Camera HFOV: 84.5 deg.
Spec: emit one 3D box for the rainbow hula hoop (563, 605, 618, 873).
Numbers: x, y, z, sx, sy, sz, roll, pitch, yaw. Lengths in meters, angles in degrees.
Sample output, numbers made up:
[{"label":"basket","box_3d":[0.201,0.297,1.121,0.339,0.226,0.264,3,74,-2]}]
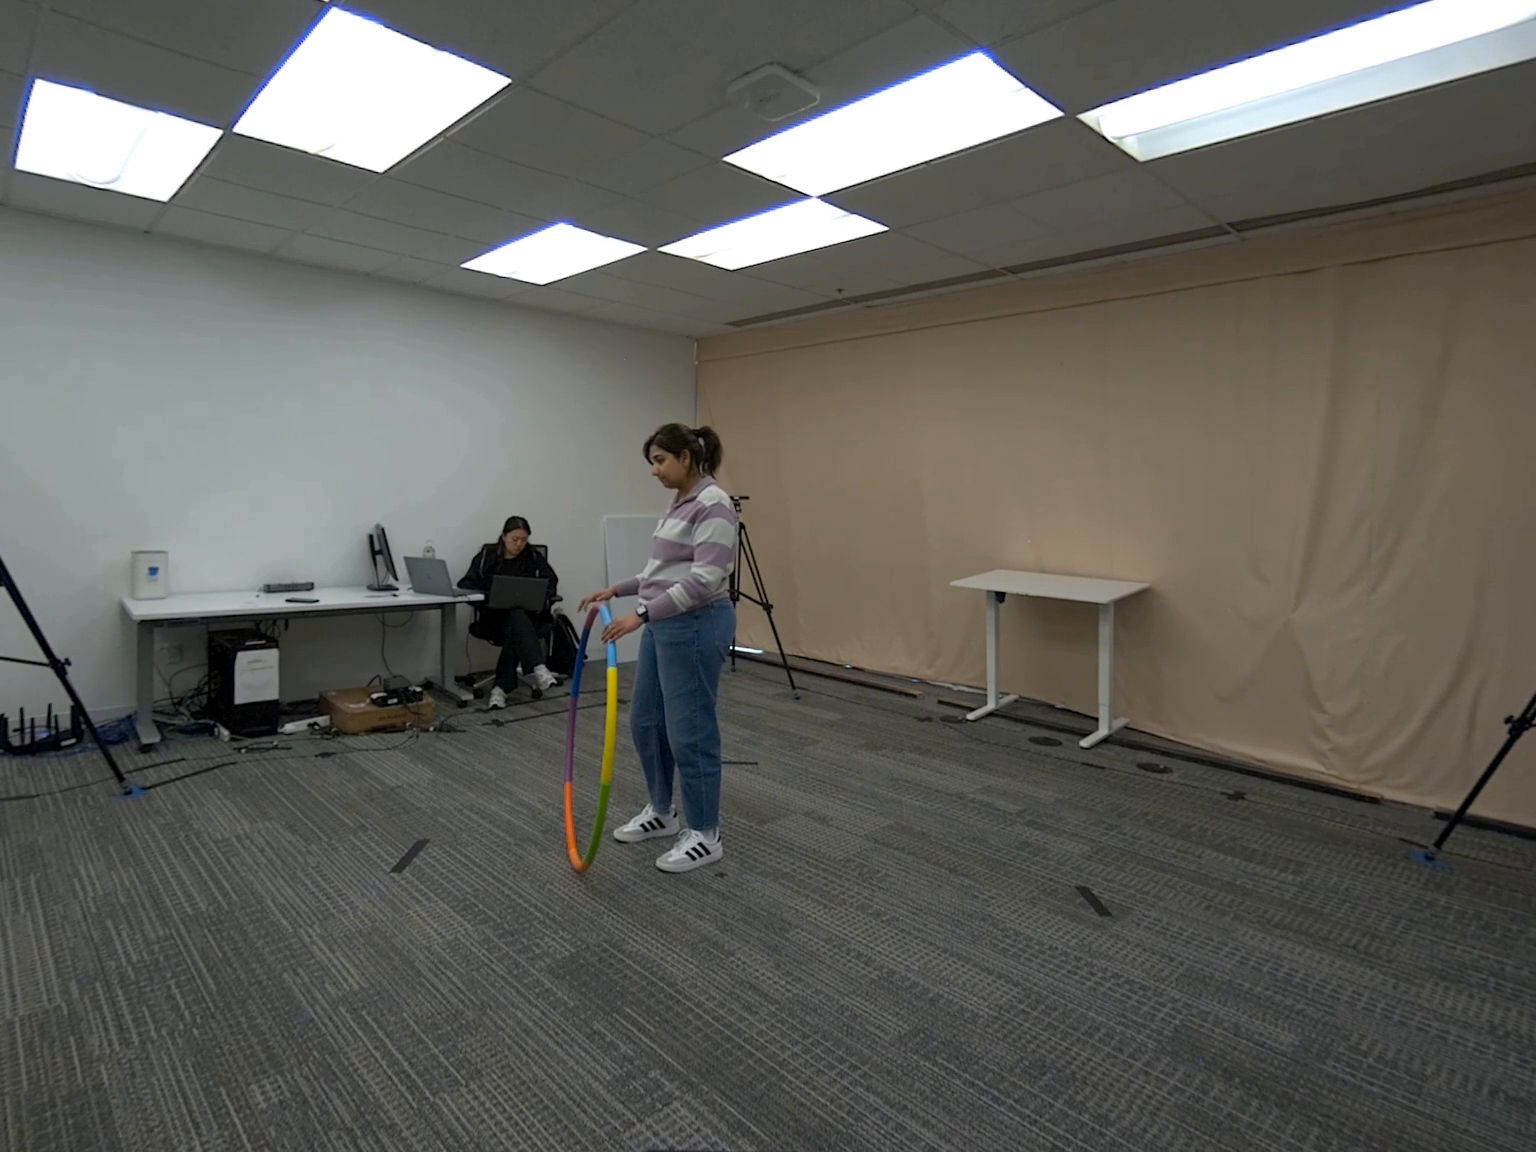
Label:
[{"label":"rainbow hula hoop","box_3d":[-0.689,0.601,3.186,0.051,0.984,1.002,5,3,-19]}]
